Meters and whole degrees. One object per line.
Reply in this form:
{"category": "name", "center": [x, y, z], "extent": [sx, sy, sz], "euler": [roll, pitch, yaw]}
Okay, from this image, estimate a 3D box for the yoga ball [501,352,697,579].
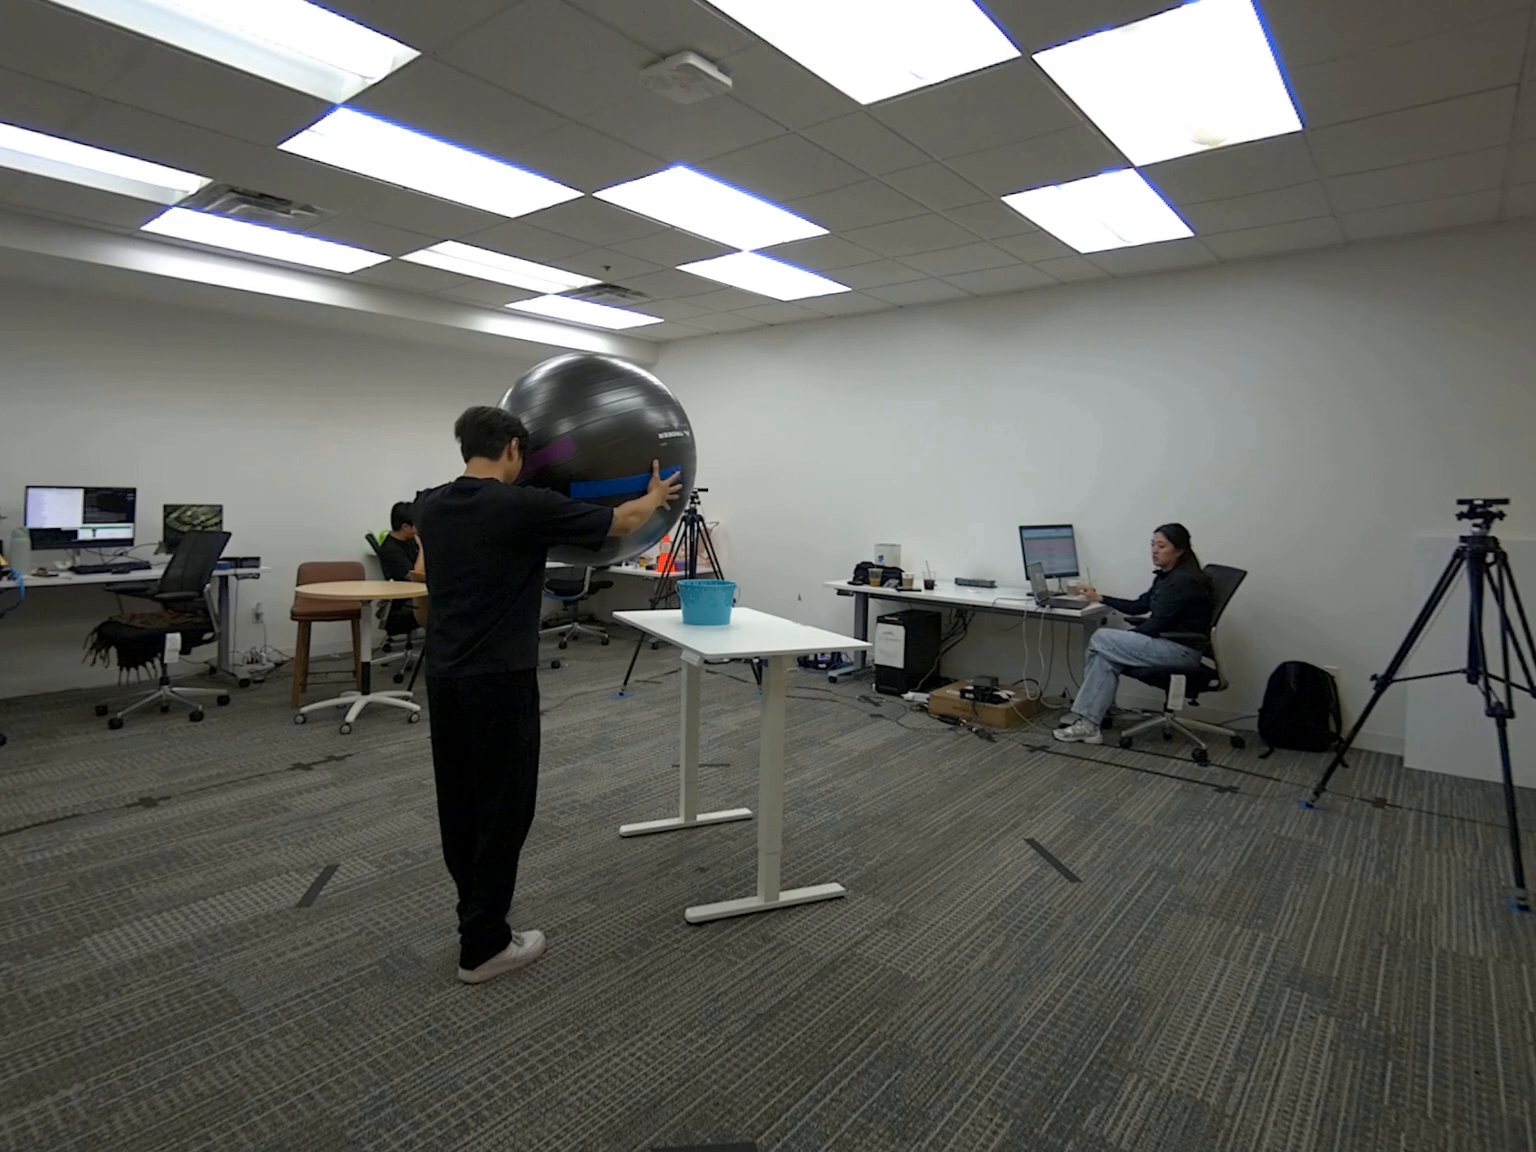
{"category": "yoga ball", "center": [-0.654, -0.417, 3.068], "extent": [0.757, 0.756, 0.762], "euler": [1, 4, -2]}
